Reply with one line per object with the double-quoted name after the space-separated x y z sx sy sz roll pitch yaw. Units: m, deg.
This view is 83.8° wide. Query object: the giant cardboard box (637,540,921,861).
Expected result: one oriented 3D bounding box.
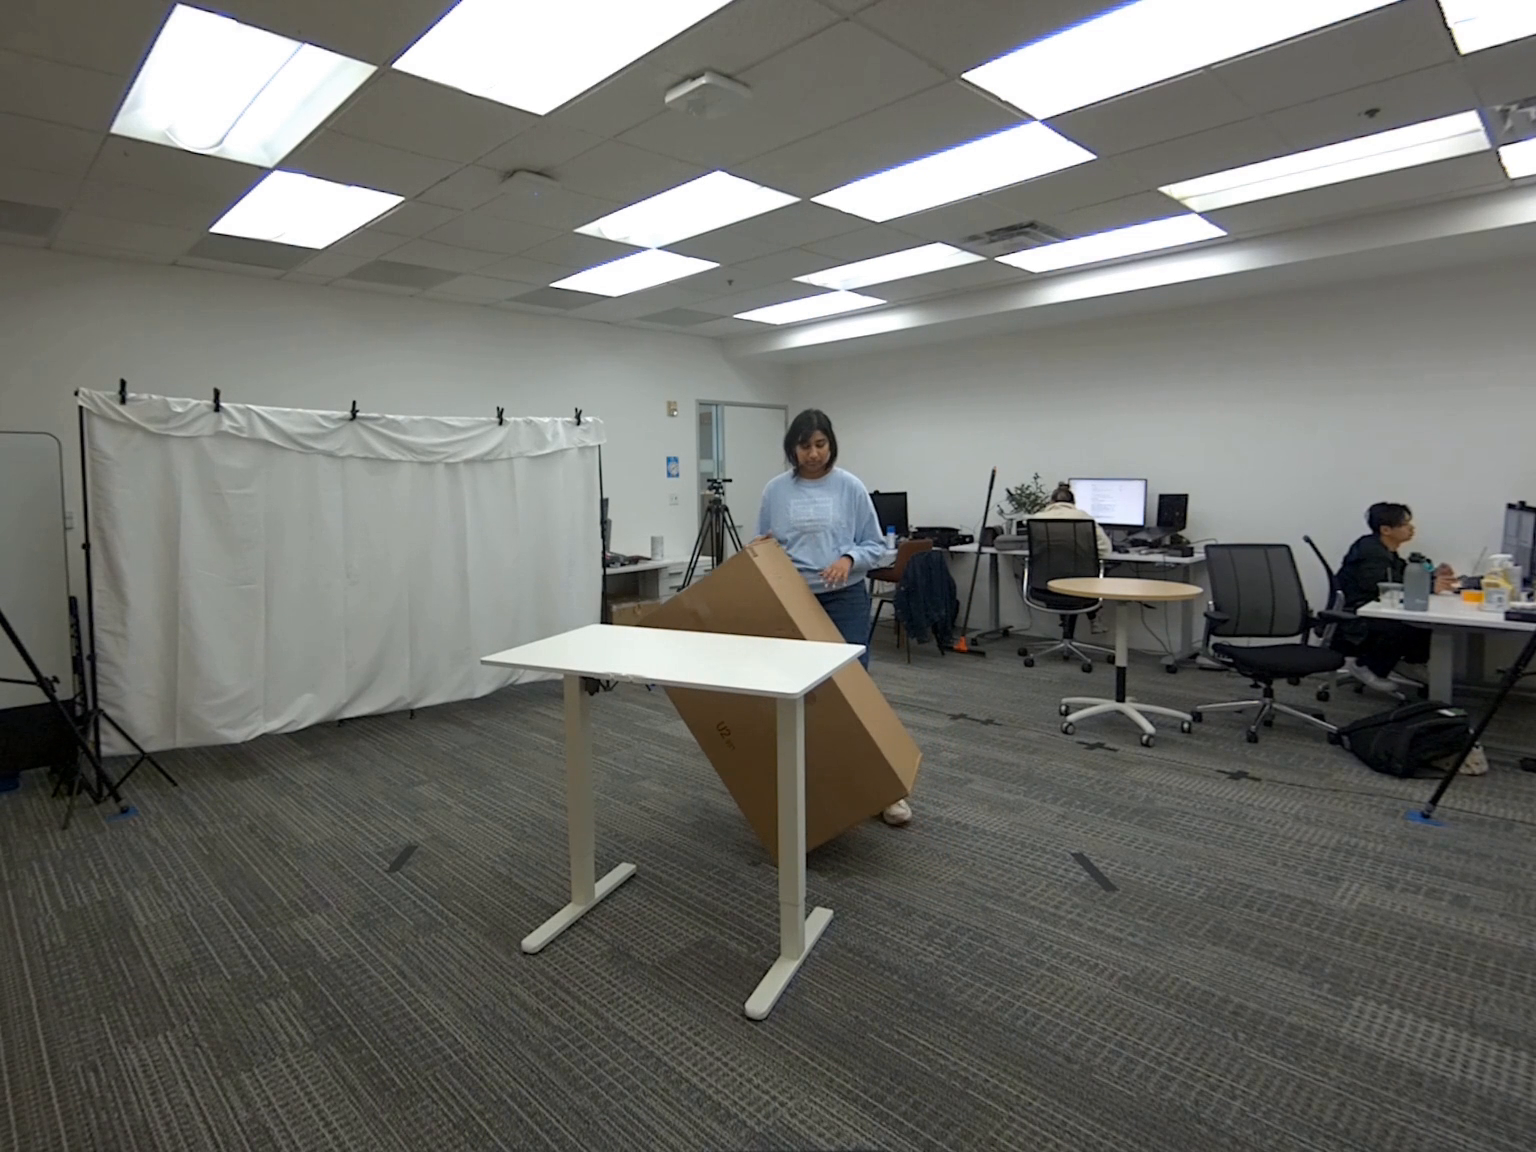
0.032 0.449 3.250 0.580 1.035 0.420 -35 -7 16 "giant cardboard box"
